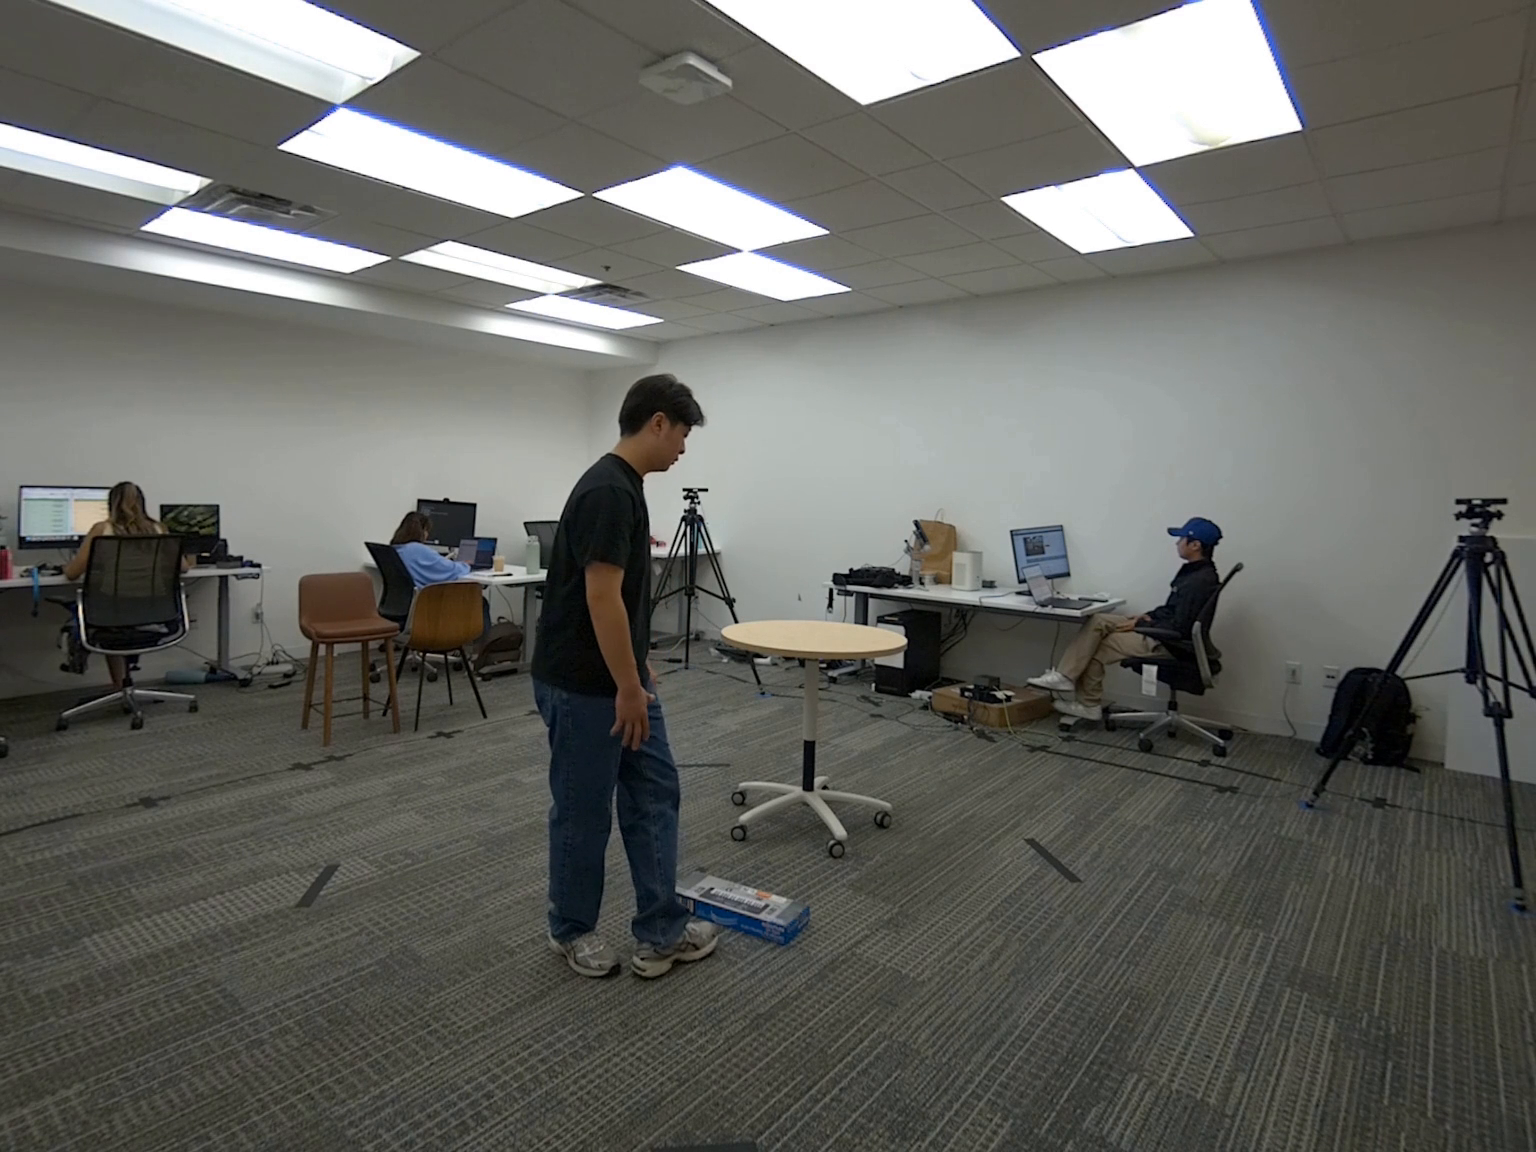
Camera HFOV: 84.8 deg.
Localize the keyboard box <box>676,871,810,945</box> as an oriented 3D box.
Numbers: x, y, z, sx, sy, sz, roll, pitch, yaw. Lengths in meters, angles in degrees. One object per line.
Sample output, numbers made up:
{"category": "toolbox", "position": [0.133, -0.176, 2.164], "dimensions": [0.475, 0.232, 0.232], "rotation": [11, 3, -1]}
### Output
{"category": "keyboard box", "position": [-0.103, 1.076, 2.777], "dimensions": [0.450, 0.059, 0.171], "rotation": [4, 5, 30]}
